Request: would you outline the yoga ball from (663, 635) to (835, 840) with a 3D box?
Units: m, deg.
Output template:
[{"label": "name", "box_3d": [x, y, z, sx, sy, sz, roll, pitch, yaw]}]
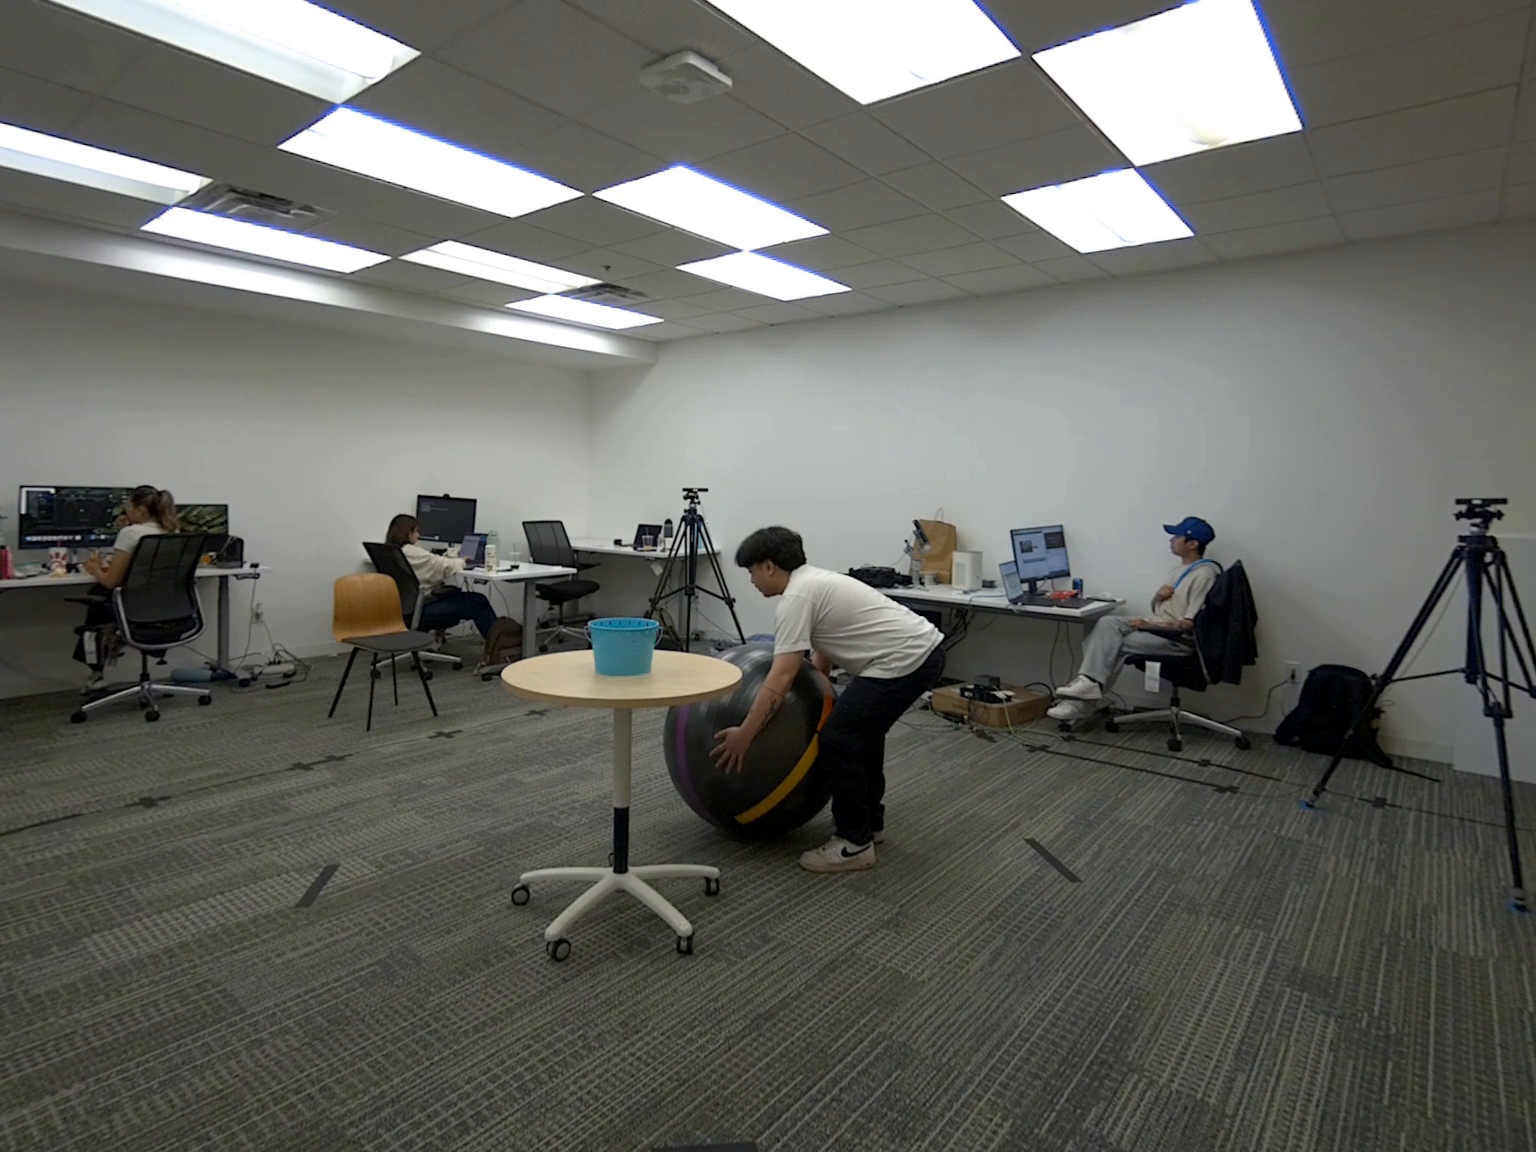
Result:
[{"label": "yoga ball", "box_3d": [-0.063, 0.666, 3.489, 0.757, 0.756, 0.761, 1, 4, -2]}]
